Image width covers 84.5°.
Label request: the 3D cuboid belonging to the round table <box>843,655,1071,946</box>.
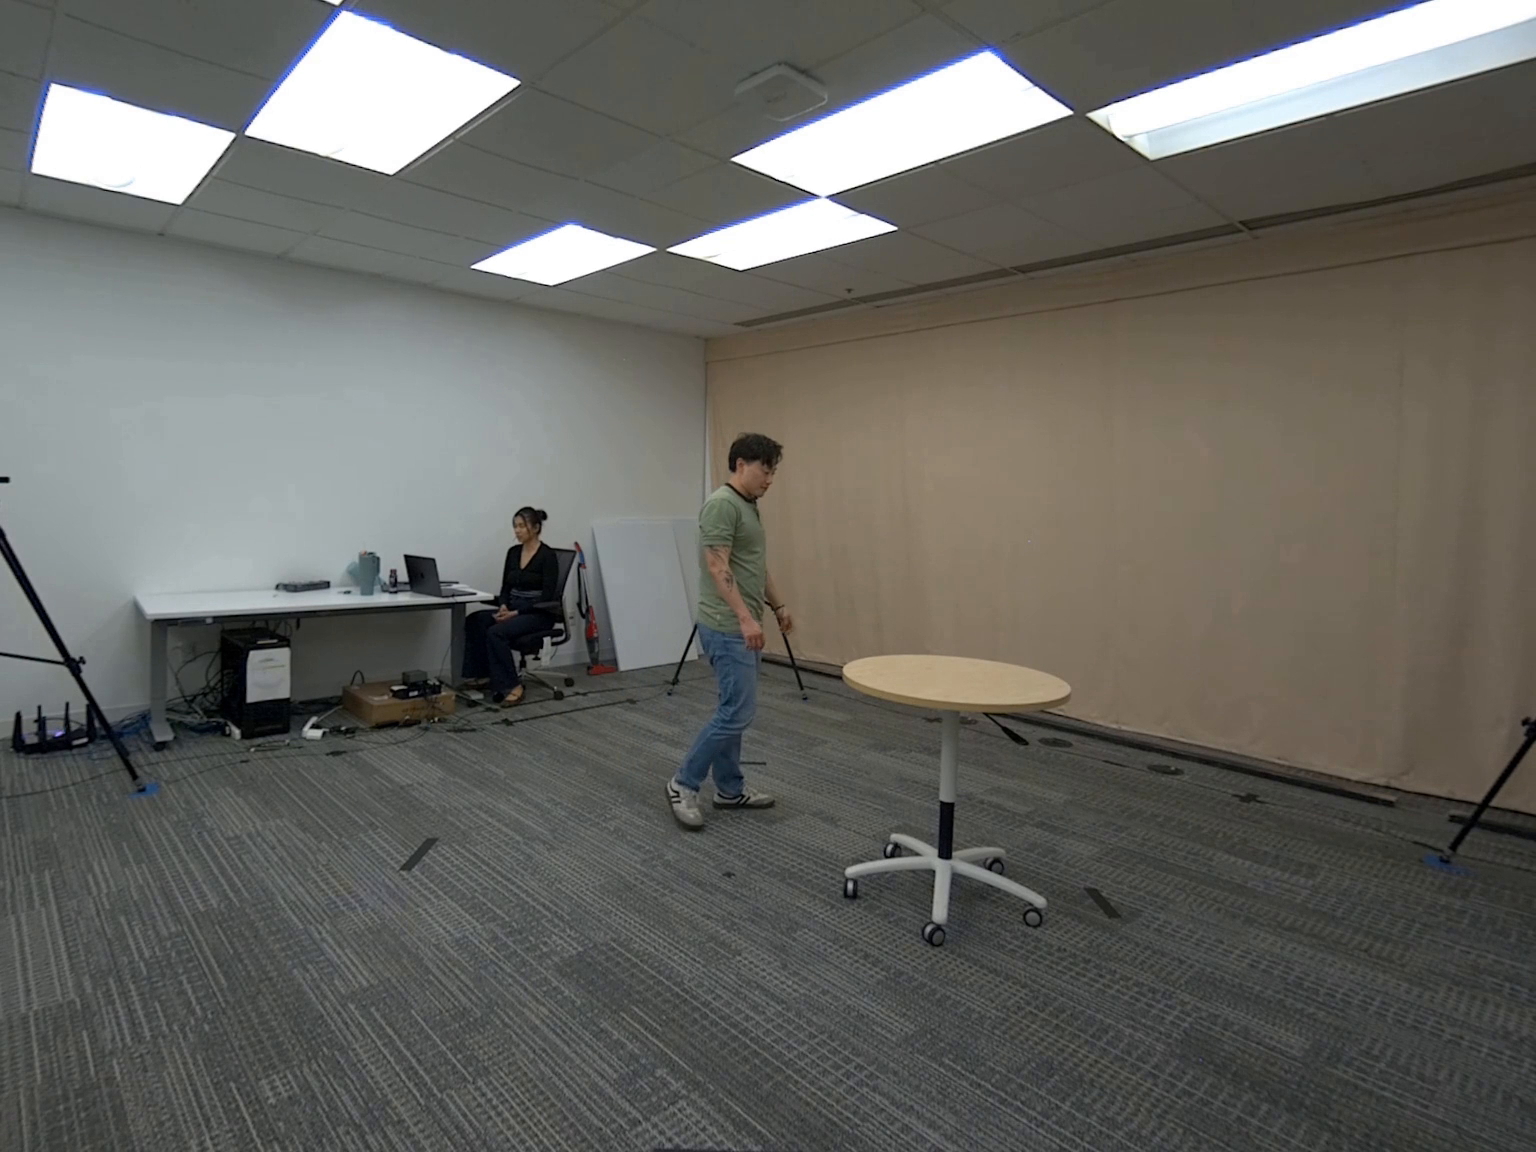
[{"bbox_3d":[0.623,0.744,2.960,0.763,0.791,0.767,2,5,-2],"label":"round table"}]
